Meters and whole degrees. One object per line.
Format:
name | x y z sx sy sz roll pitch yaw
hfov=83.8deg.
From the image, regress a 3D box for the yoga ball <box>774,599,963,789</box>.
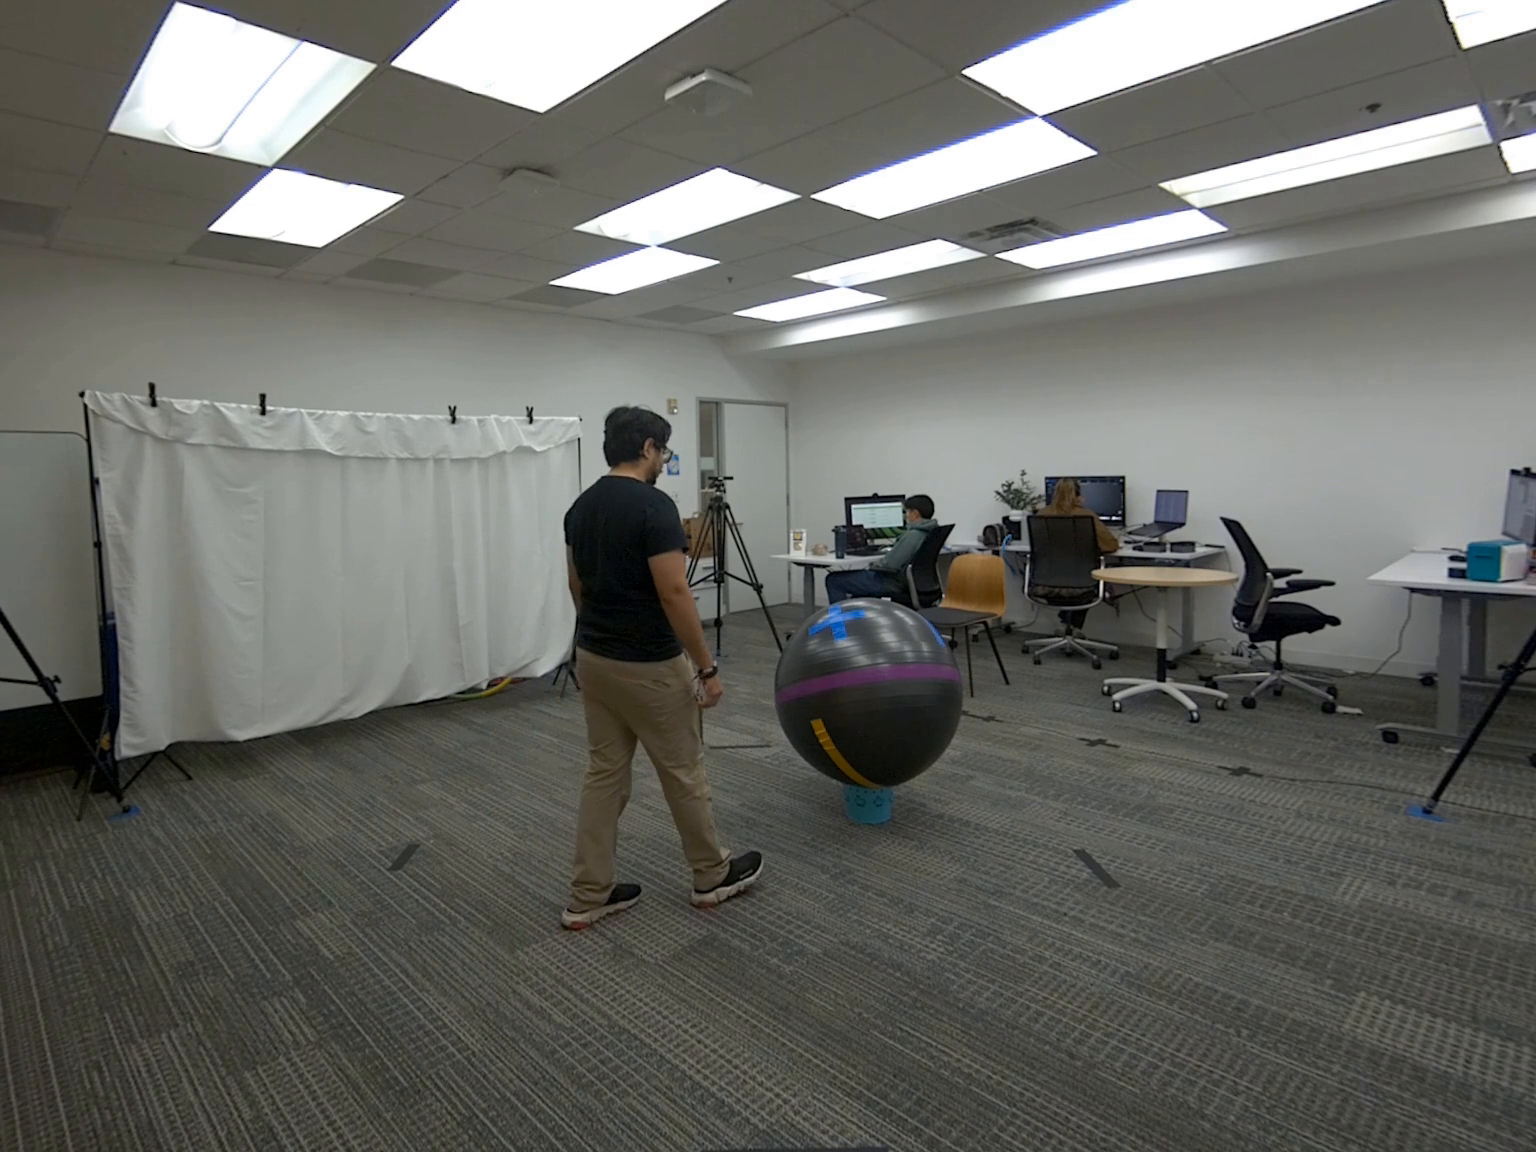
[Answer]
yoga ball | 0.402 0.475 3.503 0.757 0.755 0.762 -1 5 -2
